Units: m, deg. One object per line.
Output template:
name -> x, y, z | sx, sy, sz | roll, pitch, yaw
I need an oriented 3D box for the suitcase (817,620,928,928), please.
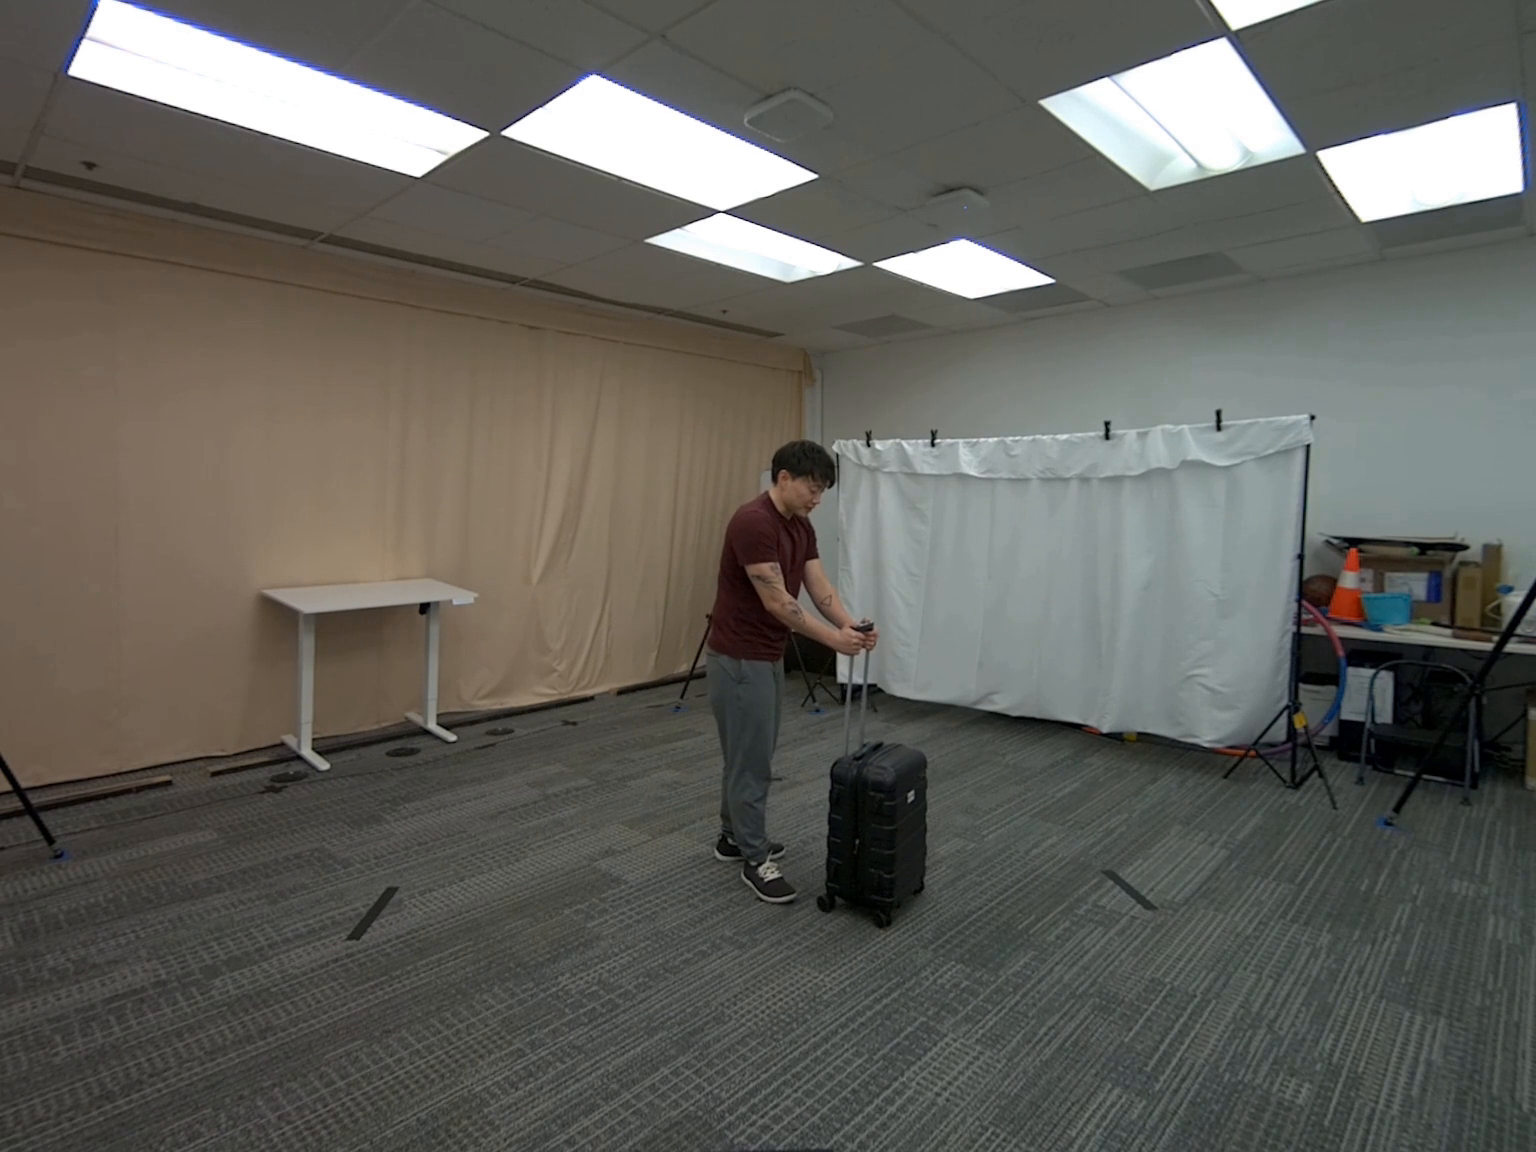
suitcase -> 0.404, 0.673, 2.915 | 0.265, 0.976, 0.374 | 6, 6, 30
